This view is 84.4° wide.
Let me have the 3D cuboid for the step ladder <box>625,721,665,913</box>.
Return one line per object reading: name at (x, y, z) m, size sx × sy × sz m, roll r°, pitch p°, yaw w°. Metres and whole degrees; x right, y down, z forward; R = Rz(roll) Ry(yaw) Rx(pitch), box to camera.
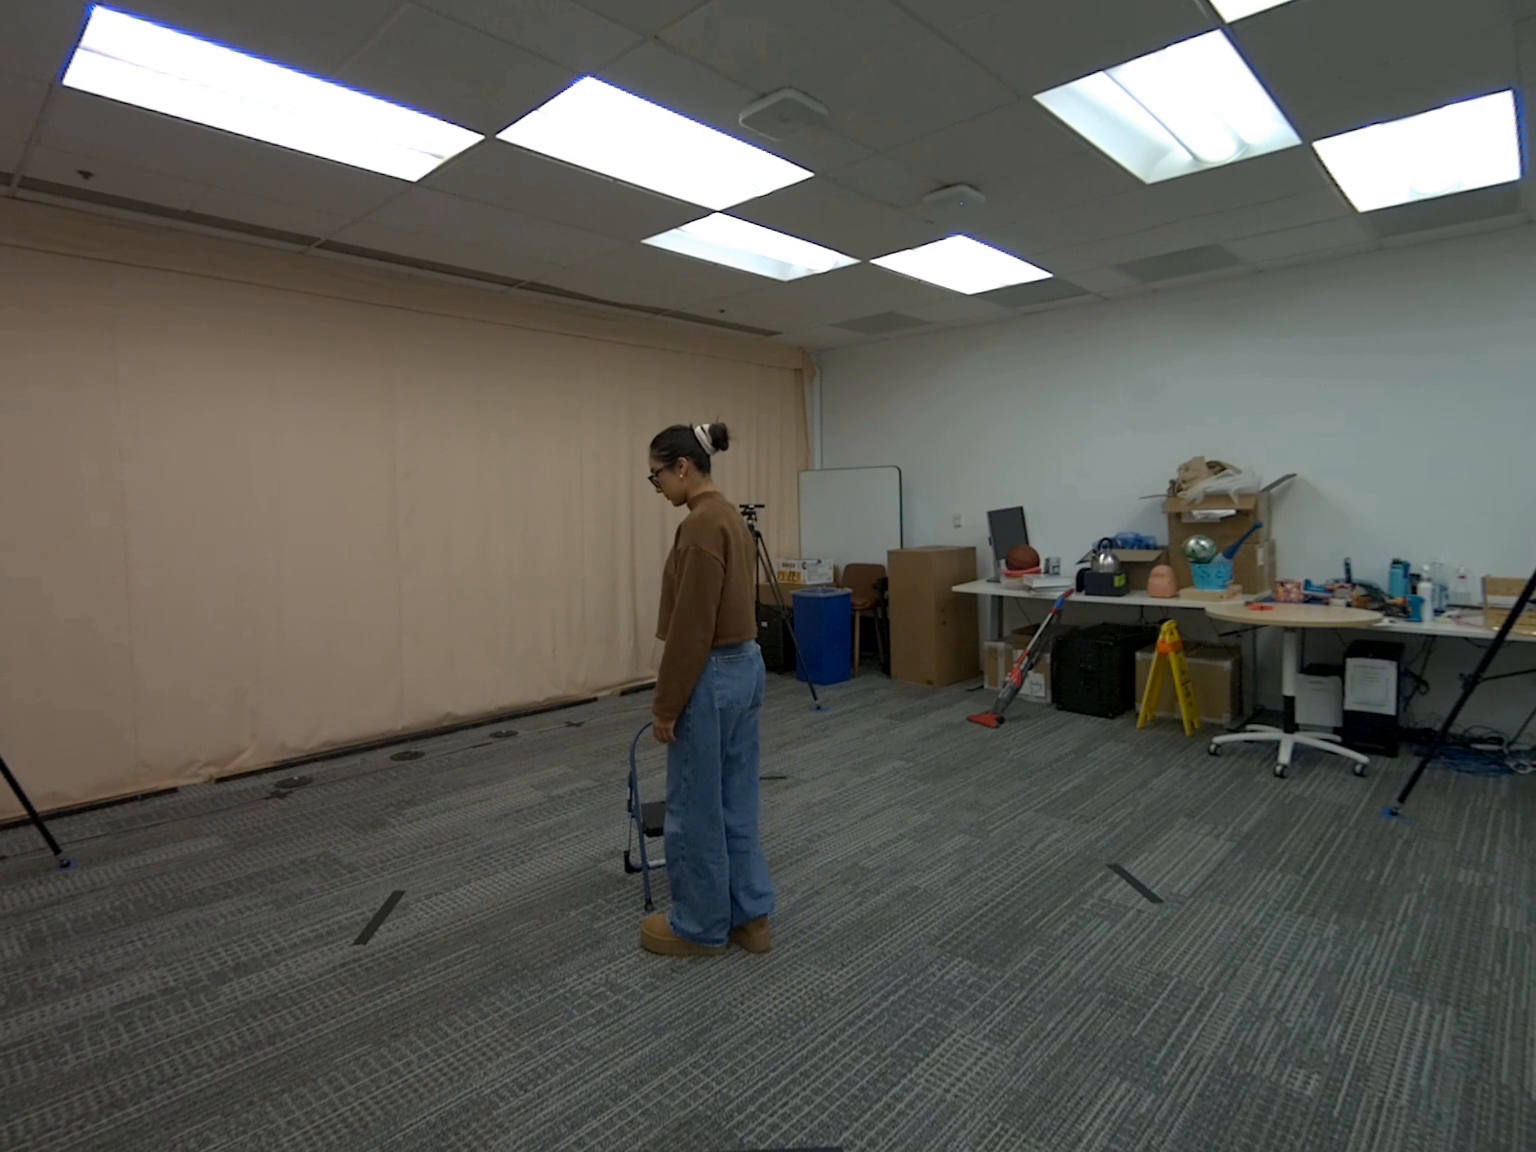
step ladder at (-0.300, 0.833, 3.114) m, size 0.421 × 0.604 × 0.358 m, roll -3°, pitch 4°, yaw -22°
